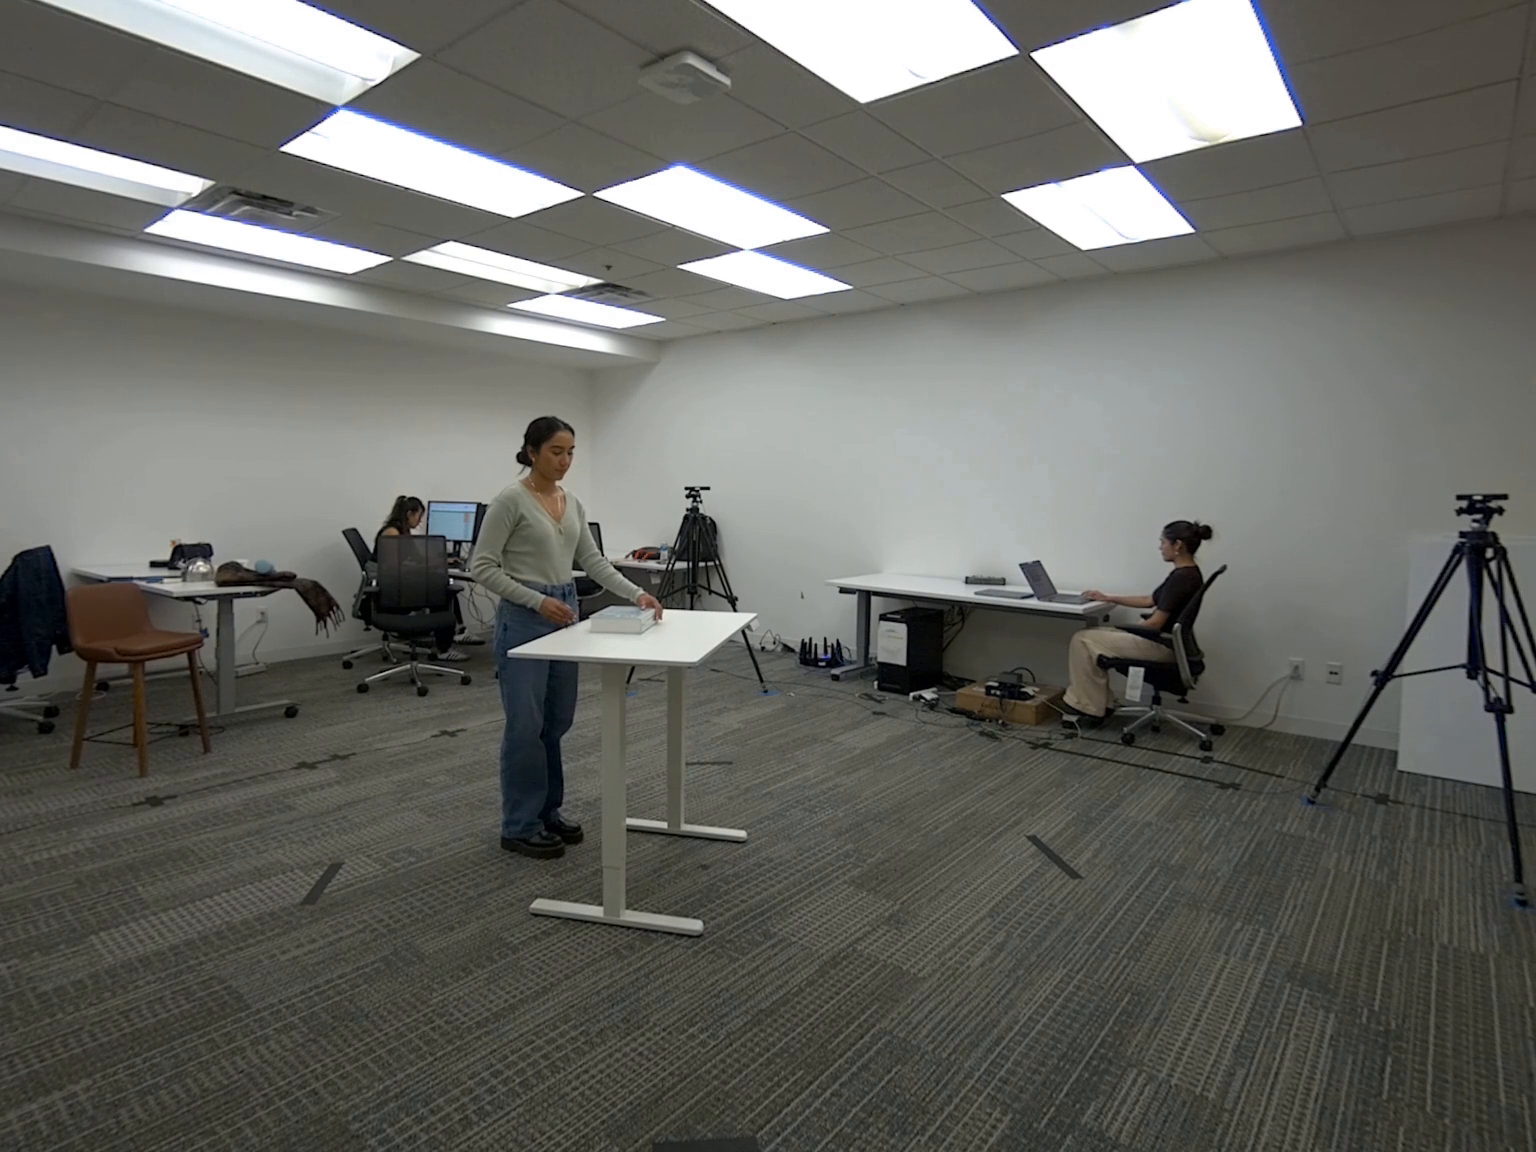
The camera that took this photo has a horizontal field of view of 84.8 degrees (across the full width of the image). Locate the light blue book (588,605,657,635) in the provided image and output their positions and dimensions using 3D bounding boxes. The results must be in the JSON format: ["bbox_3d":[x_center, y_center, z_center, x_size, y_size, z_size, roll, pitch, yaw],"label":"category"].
[{"bbox_3d":[-0.533,0.159,3.063,0.192,0.059,0.260,1,5,4],"label":"light blue book"}]
